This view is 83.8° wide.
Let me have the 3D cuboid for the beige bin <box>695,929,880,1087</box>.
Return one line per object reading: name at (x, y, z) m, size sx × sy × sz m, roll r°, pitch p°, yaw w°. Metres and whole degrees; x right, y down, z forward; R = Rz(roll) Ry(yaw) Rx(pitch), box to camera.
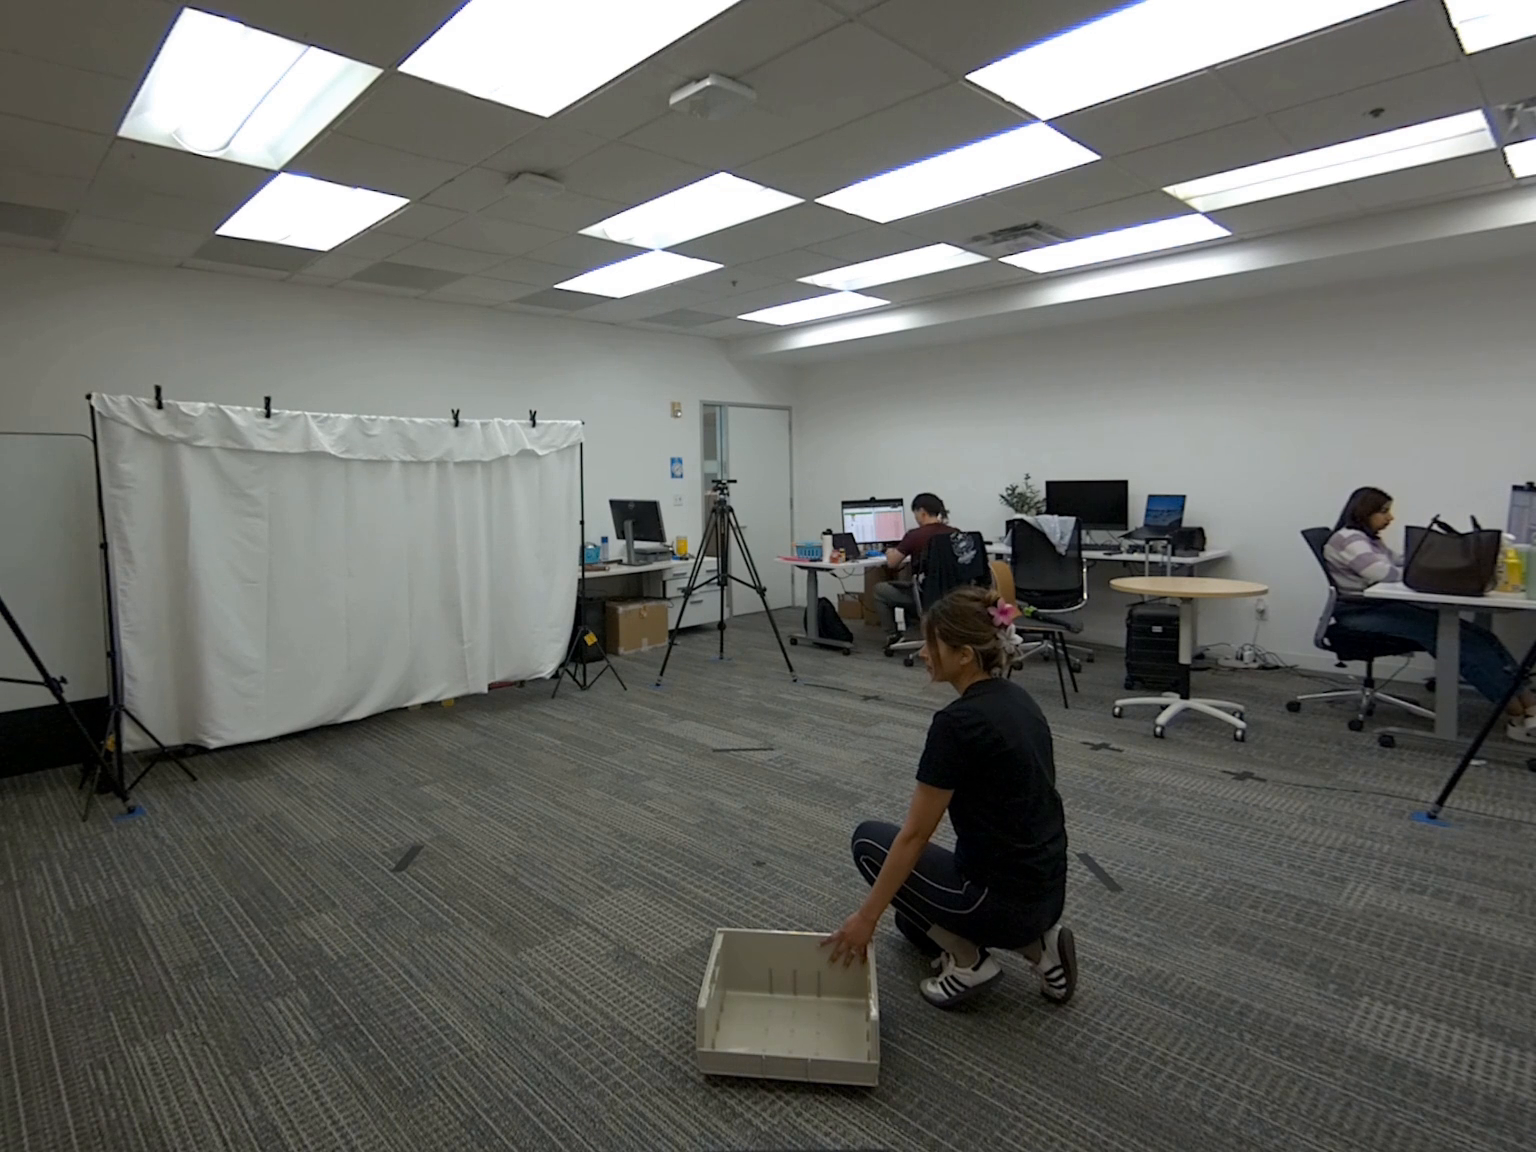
beige bin at (0.065, 1.076, 2.109) m, size 0.425 × 0.188 × 0.376 m, roll -1°, pitch 5°, yaw 6°
